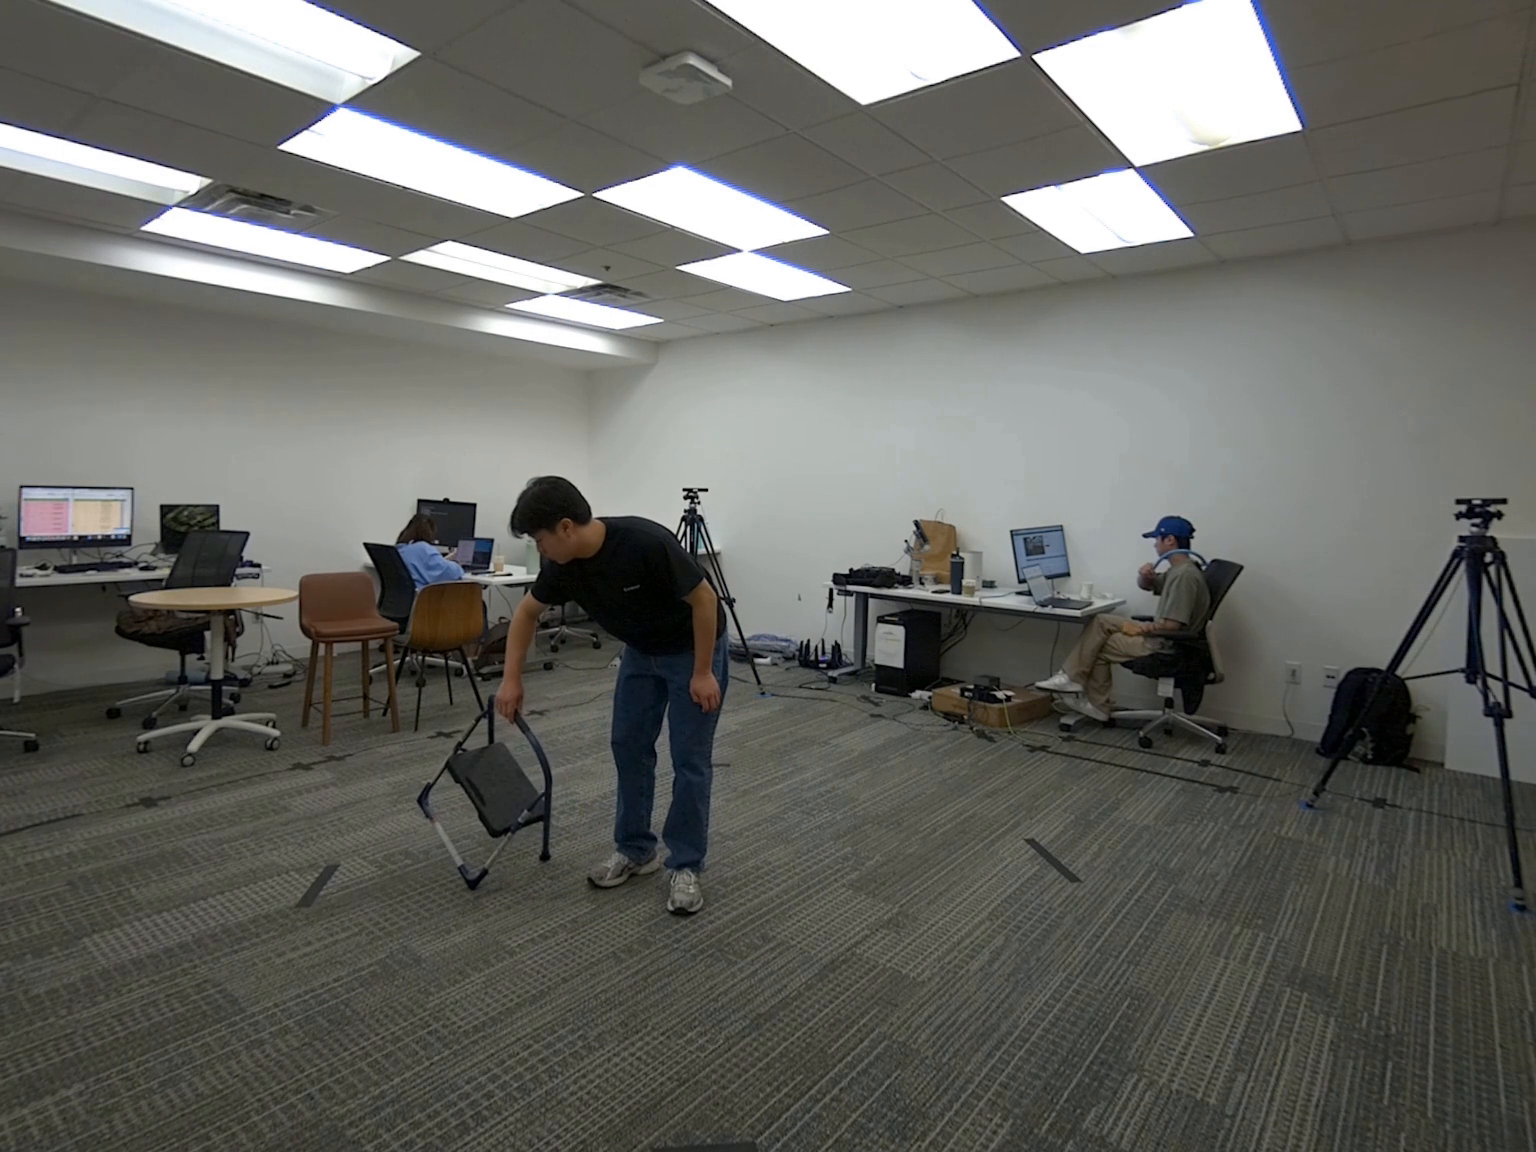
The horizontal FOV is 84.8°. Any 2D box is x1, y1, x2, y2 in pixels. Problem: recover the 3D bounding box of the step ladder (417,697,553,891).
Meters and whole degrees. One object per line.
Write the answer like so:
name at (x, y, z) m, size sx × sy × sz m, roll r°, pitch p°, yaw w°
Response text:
step ladder at (-0.939, 0.701, 3.027) m, size 0.446 × 0.601 × 0.340 m, roll 42°, pitch 28°, yaw 27°
